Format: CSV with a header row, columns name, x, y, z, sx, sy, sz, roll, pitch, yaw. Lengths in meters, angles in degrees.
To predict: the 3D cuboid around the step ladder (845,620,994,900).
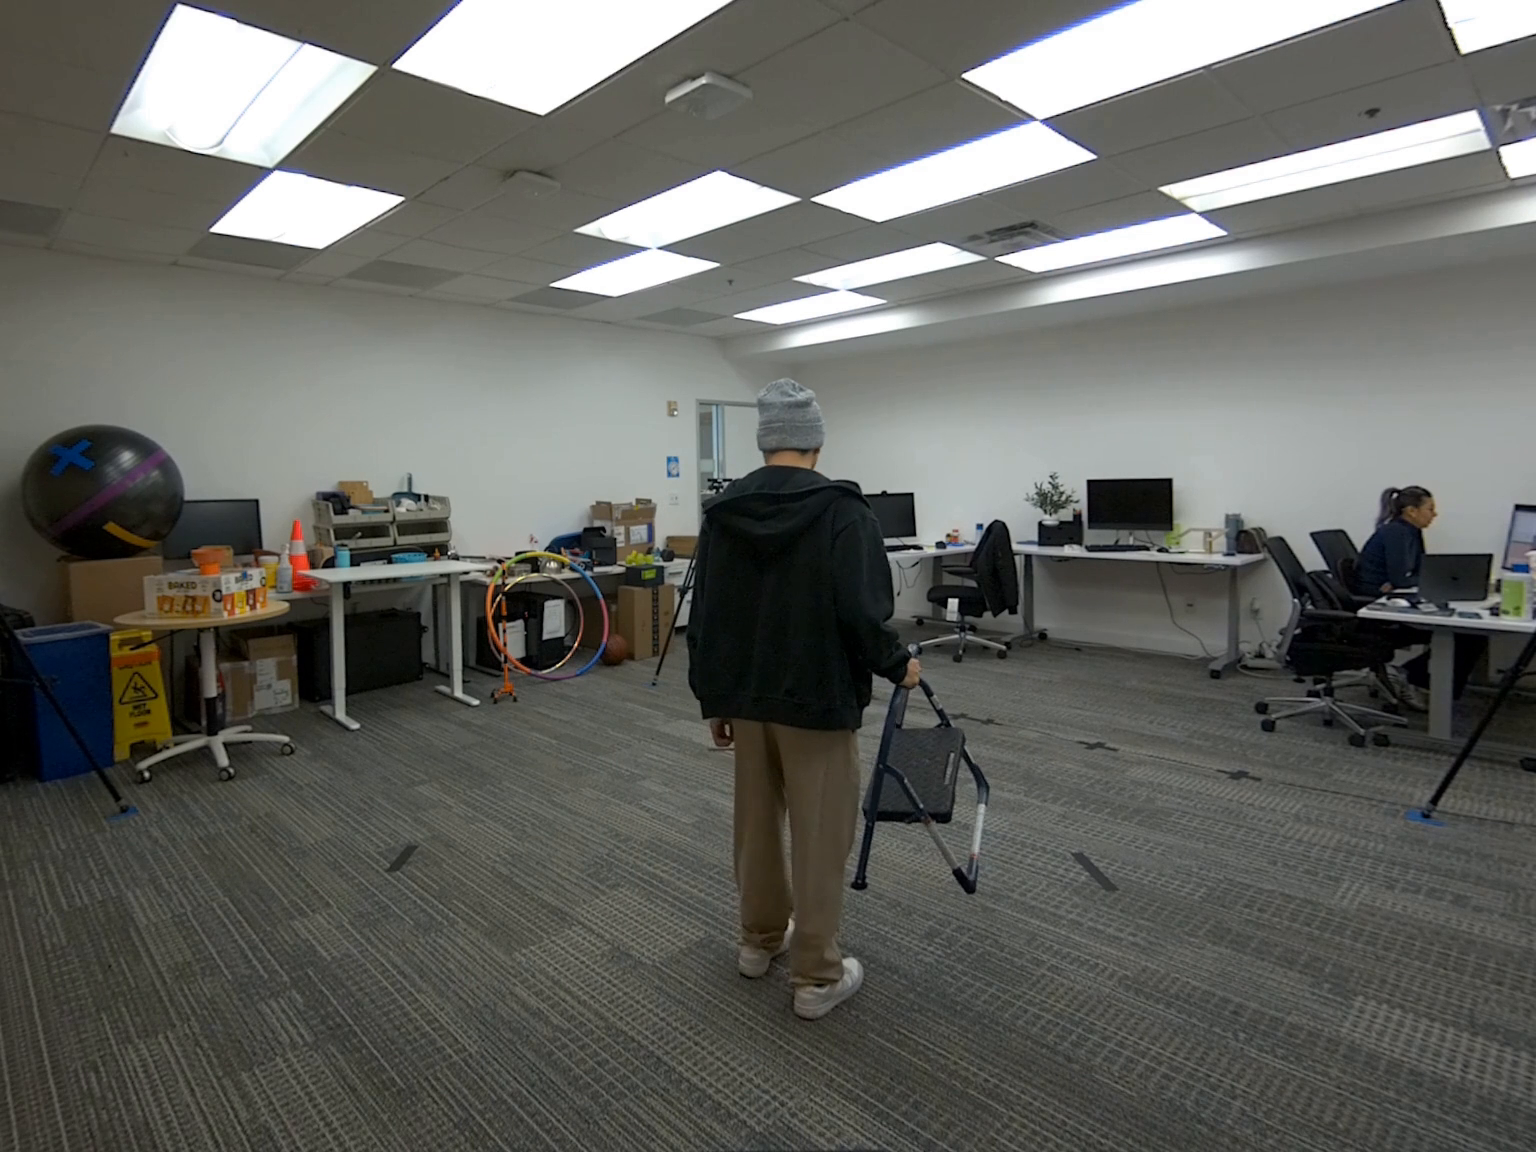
name,x,y,z,sx,sy,sz,roll,pitch,yaw
step ladder,0.382,0.510,2.430,0.356,0.592,0.432,-7,25,25
